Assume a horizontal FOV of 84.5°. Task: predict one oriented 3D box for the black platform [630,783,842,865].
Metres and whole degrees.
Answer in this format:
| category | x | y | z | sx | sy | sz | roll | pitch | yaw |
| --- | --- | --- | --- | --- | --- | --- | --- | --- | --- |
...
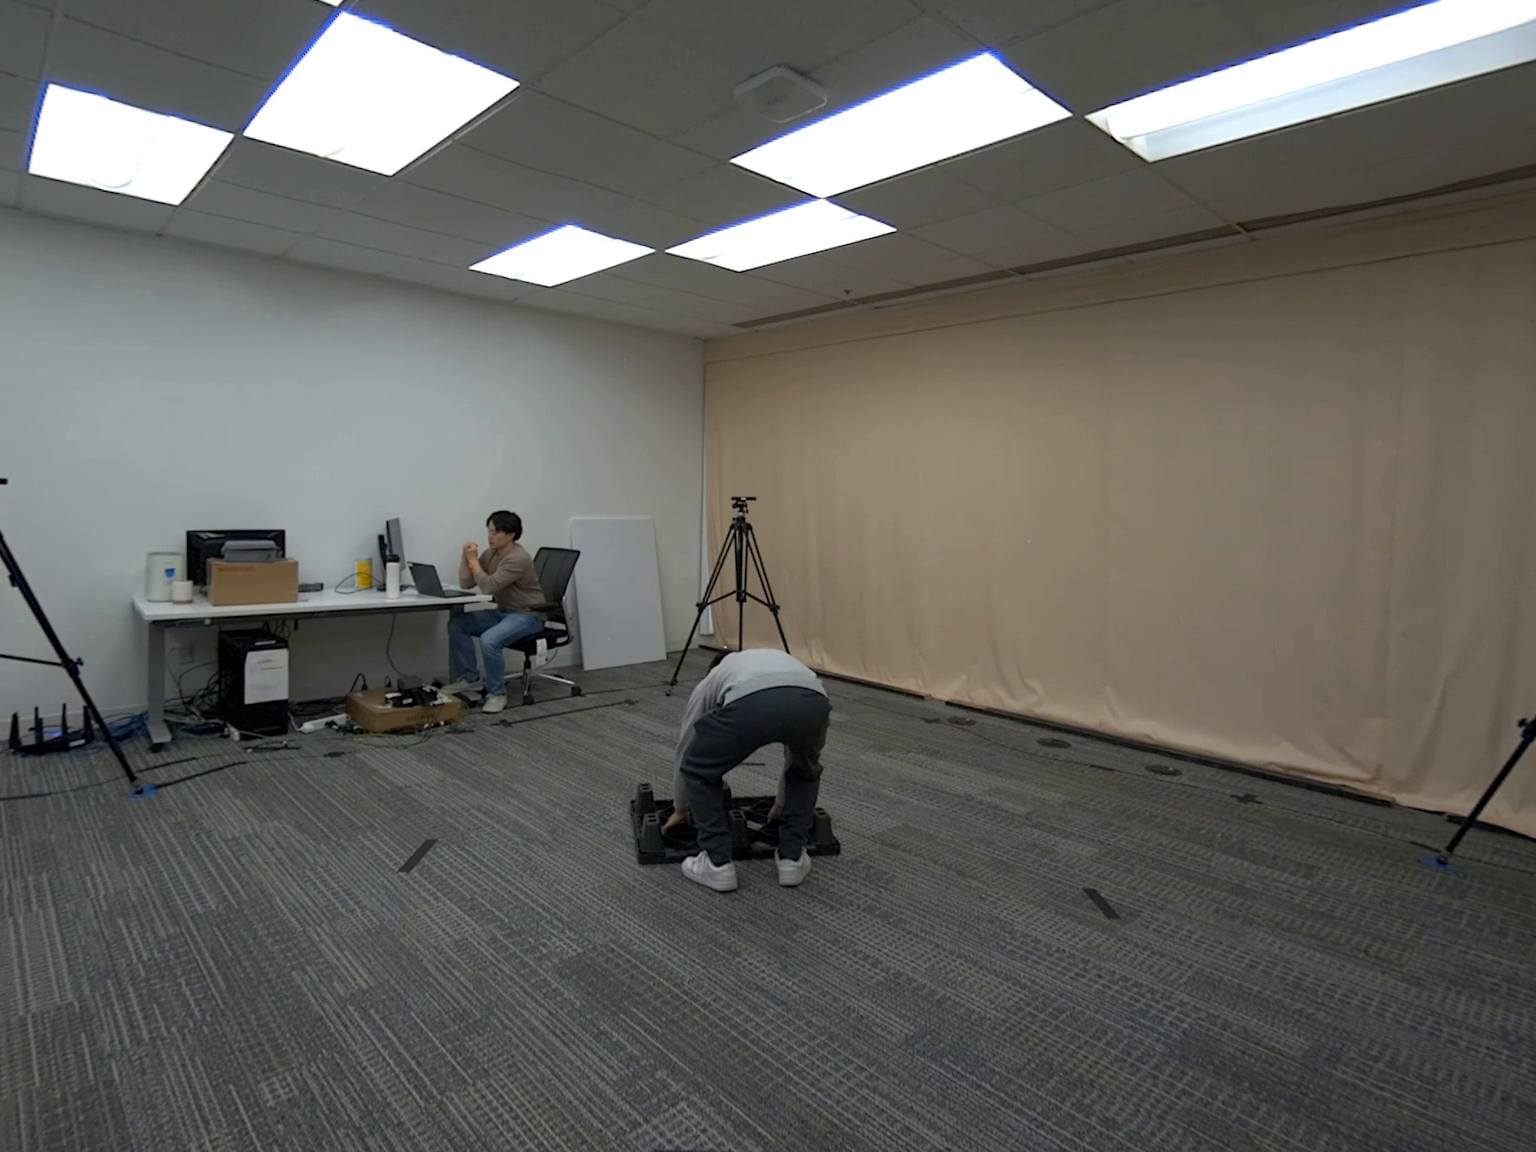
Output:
| category | x | y | z | sx | sy | sz | roll | pitch | yaw |
| --- | --- | --- | --- | --- | --- | --- | --- | --- | --- |
| black platform | -0.171 | 1.002 | 3.532 | 0.798 | 0.143 | 0.612 | 0 | 5 | -11 |
